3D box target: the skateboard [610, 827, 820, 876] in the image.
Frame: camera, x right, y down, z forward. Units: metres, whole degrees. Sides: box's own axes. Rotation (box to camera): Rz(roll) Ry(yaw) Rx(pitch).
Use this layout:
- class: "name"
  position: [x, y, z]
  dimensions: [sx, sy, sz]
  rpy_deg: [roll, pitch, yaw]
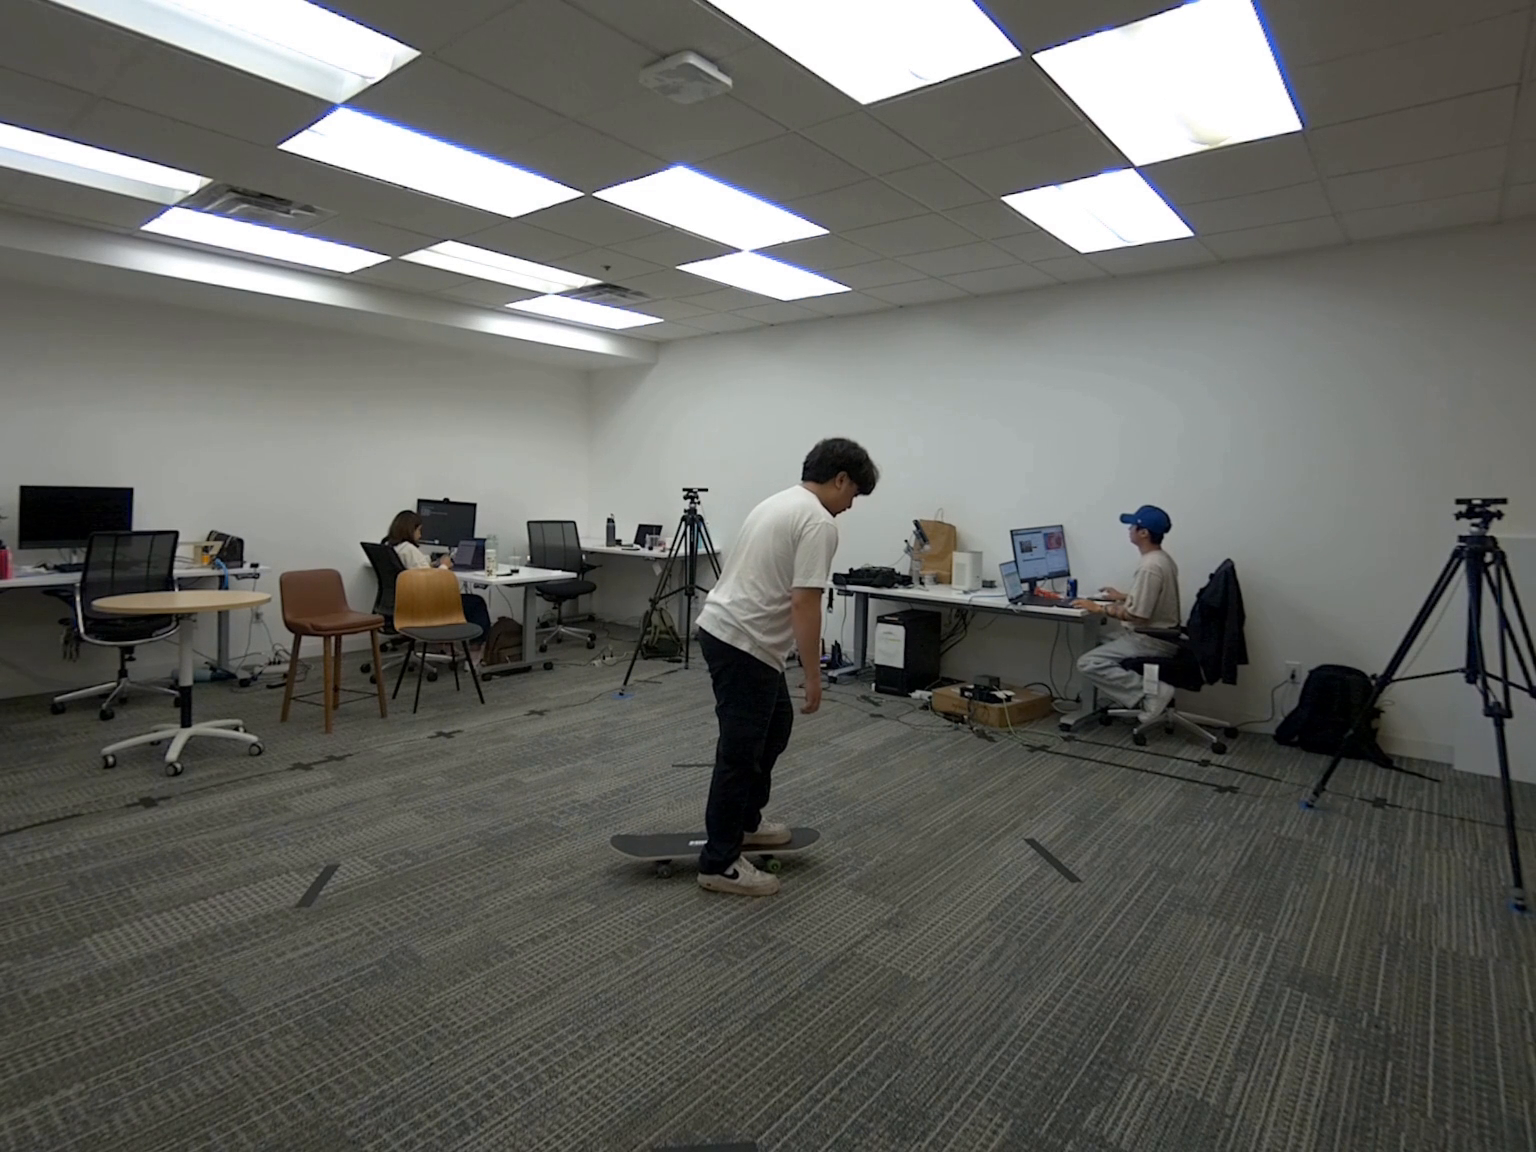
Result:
- class: "skateboard"
  position: [-0.195, 1.010, 3.137]
  dimensions: [0.778, 0.110, 0.196]
  rpy_deg: [0, 5, -9]
